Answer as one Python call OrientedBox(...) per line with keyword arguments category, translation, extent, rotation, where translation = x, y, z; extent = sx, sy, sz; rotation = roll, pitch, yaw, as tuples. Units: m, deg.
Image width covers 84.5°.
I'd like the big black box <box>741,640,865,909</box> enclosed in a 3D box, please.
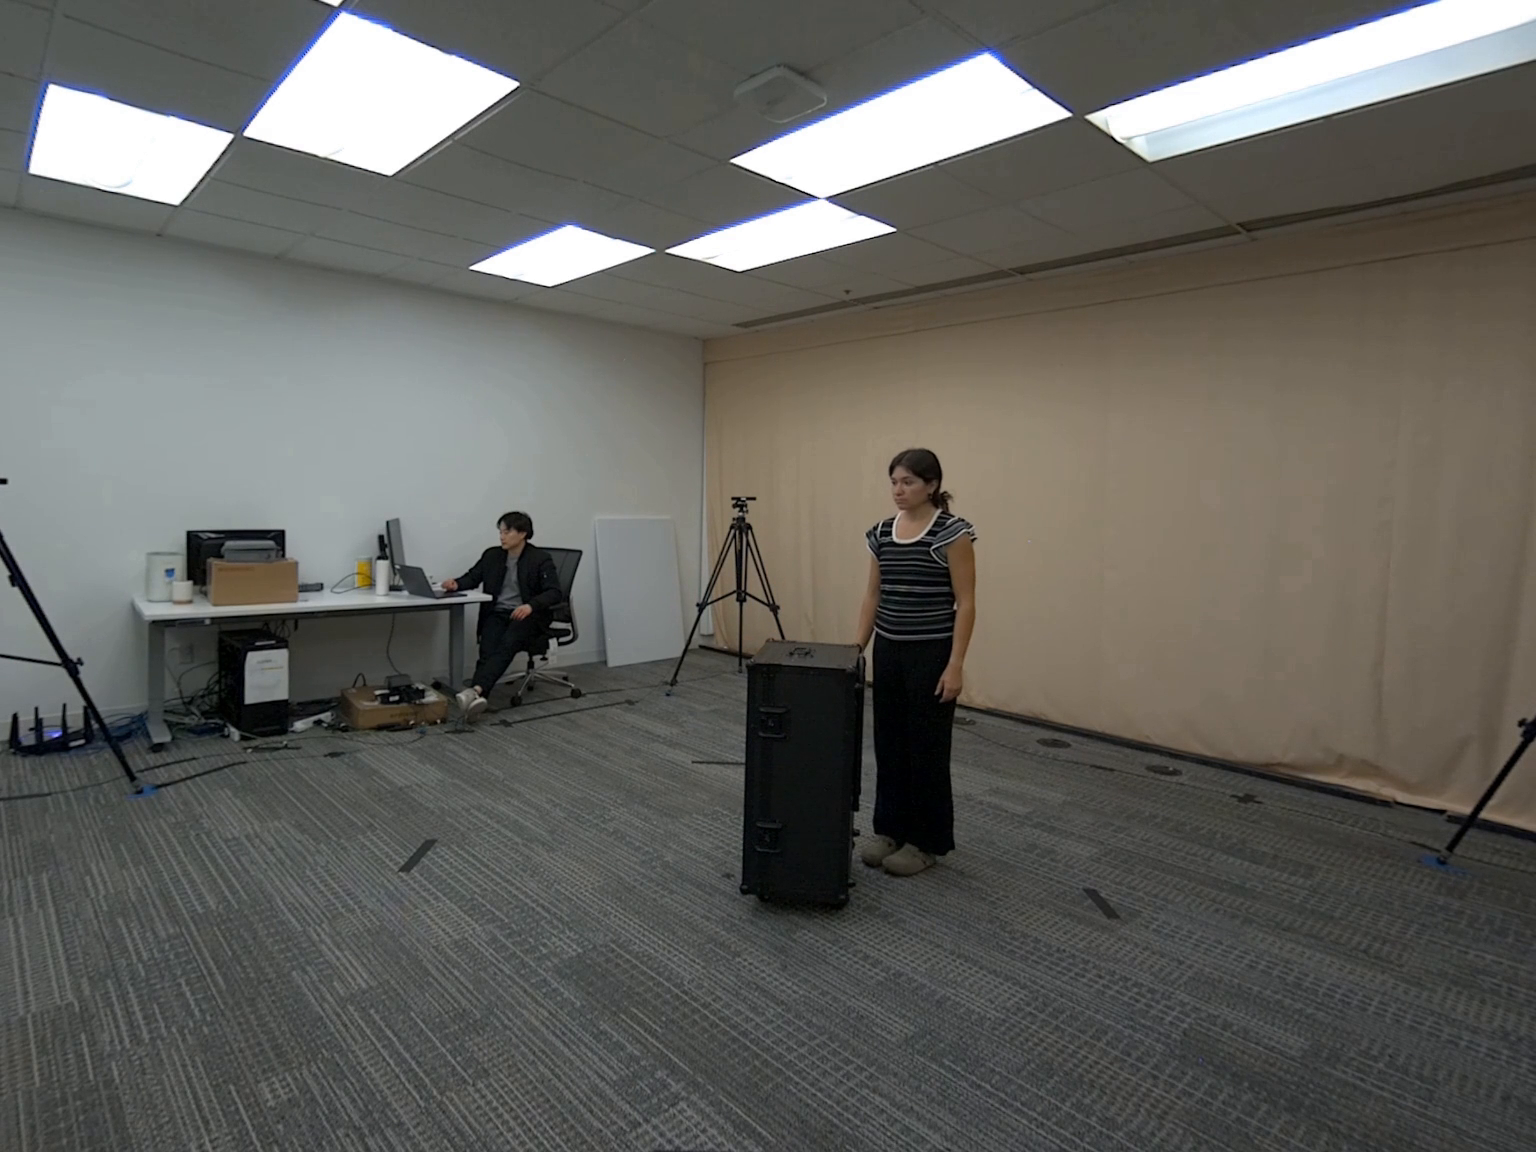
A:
OrientedBox(category="big black box", translation=(0.132, 0.696, 2.993), extent=(0.400, 0.860, 0.517), rotation=(3, 3, 10))
